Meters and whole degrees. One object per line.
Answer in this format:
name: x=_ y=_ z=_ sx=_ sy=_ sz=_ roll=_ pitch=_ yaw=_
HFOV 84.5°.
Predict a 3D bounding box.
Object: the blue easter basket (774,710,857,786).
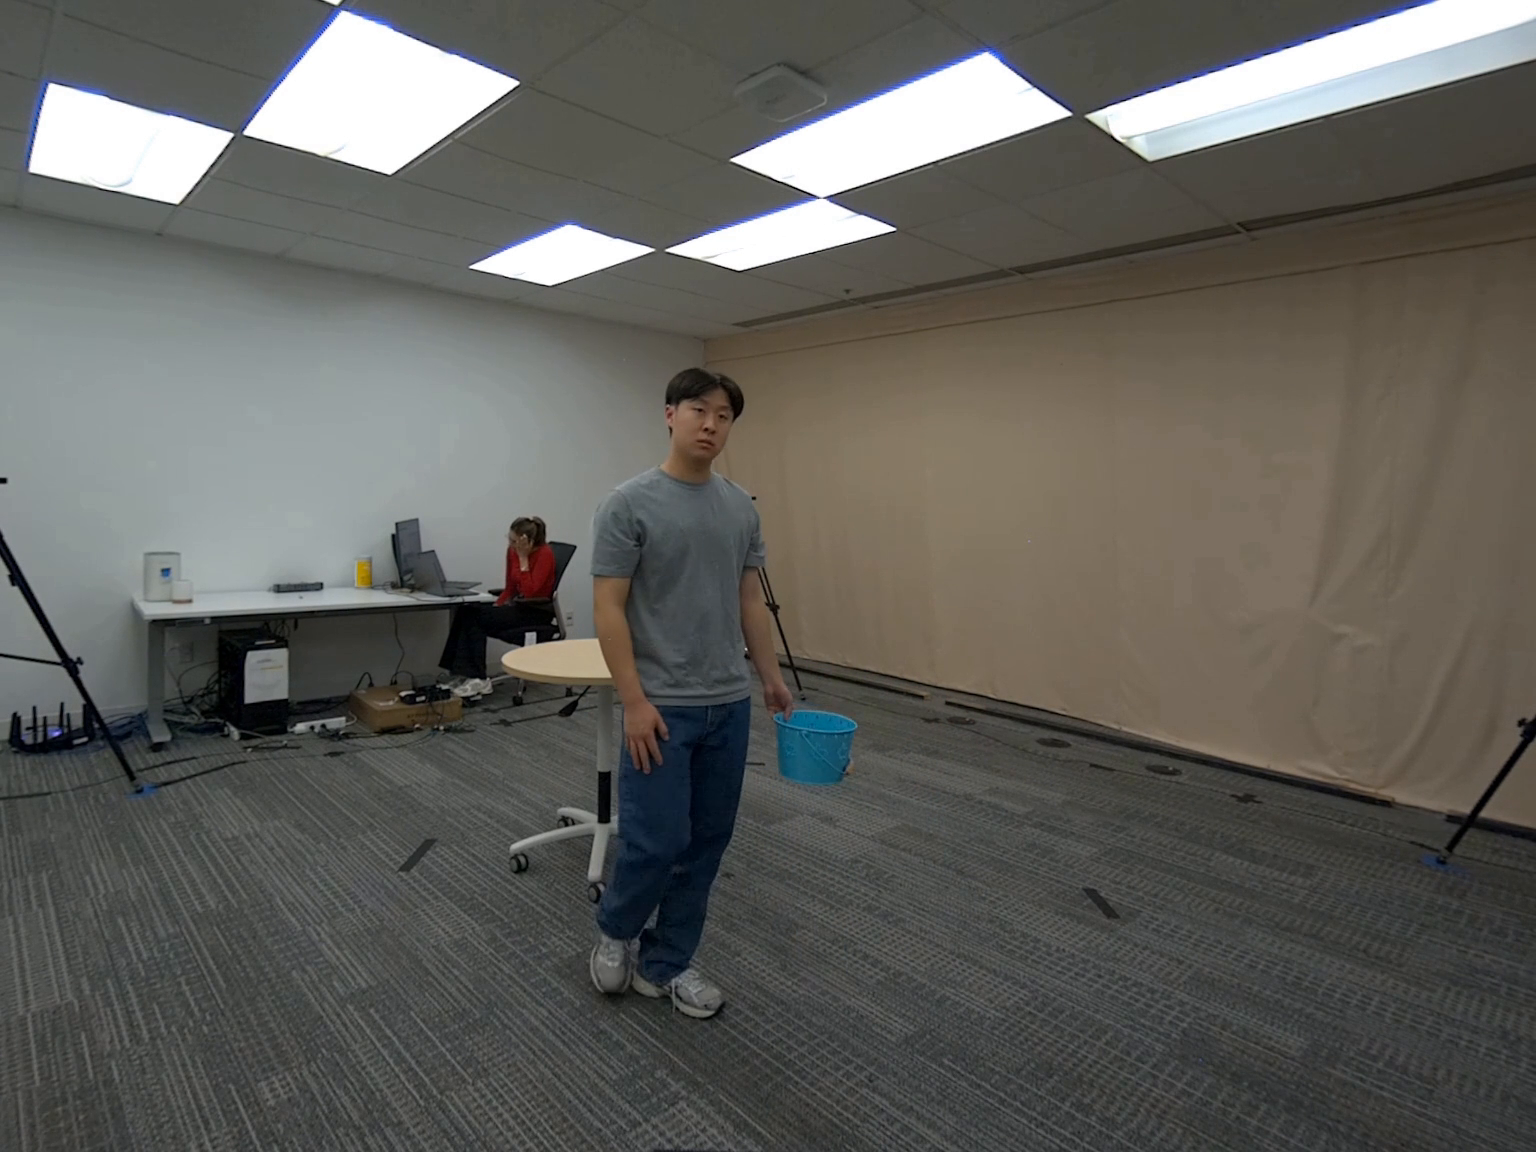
blue easter basket: x=0.124 y=0.474 z=2.324 sx=0.243 sy=0.155 sz=0.244 roll=3 pitch=4 yaw=-2
